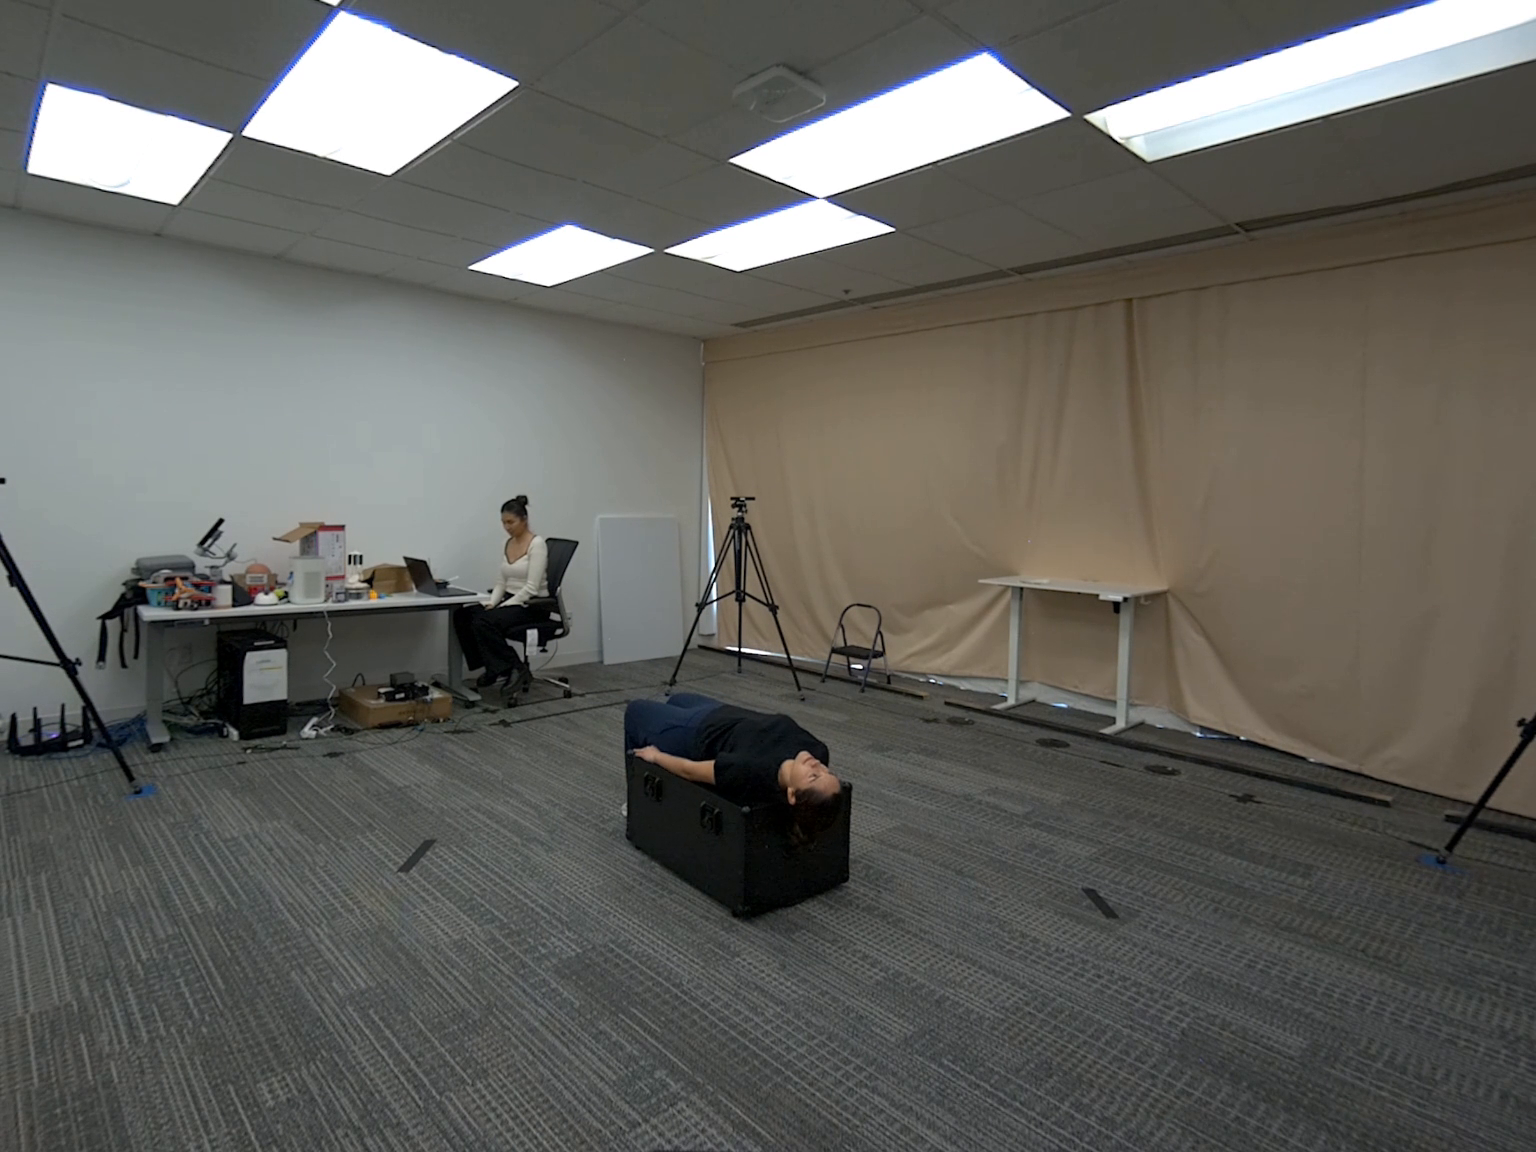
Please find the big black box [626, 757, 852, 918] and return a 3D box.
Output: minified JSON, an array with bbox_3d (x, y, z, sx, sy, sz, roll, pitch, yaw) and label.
[{"bbox_3d":[-0.122,0.925,3.150,0.510,0.395,0.882,-2,5,-38],"label":"big black box"}]
